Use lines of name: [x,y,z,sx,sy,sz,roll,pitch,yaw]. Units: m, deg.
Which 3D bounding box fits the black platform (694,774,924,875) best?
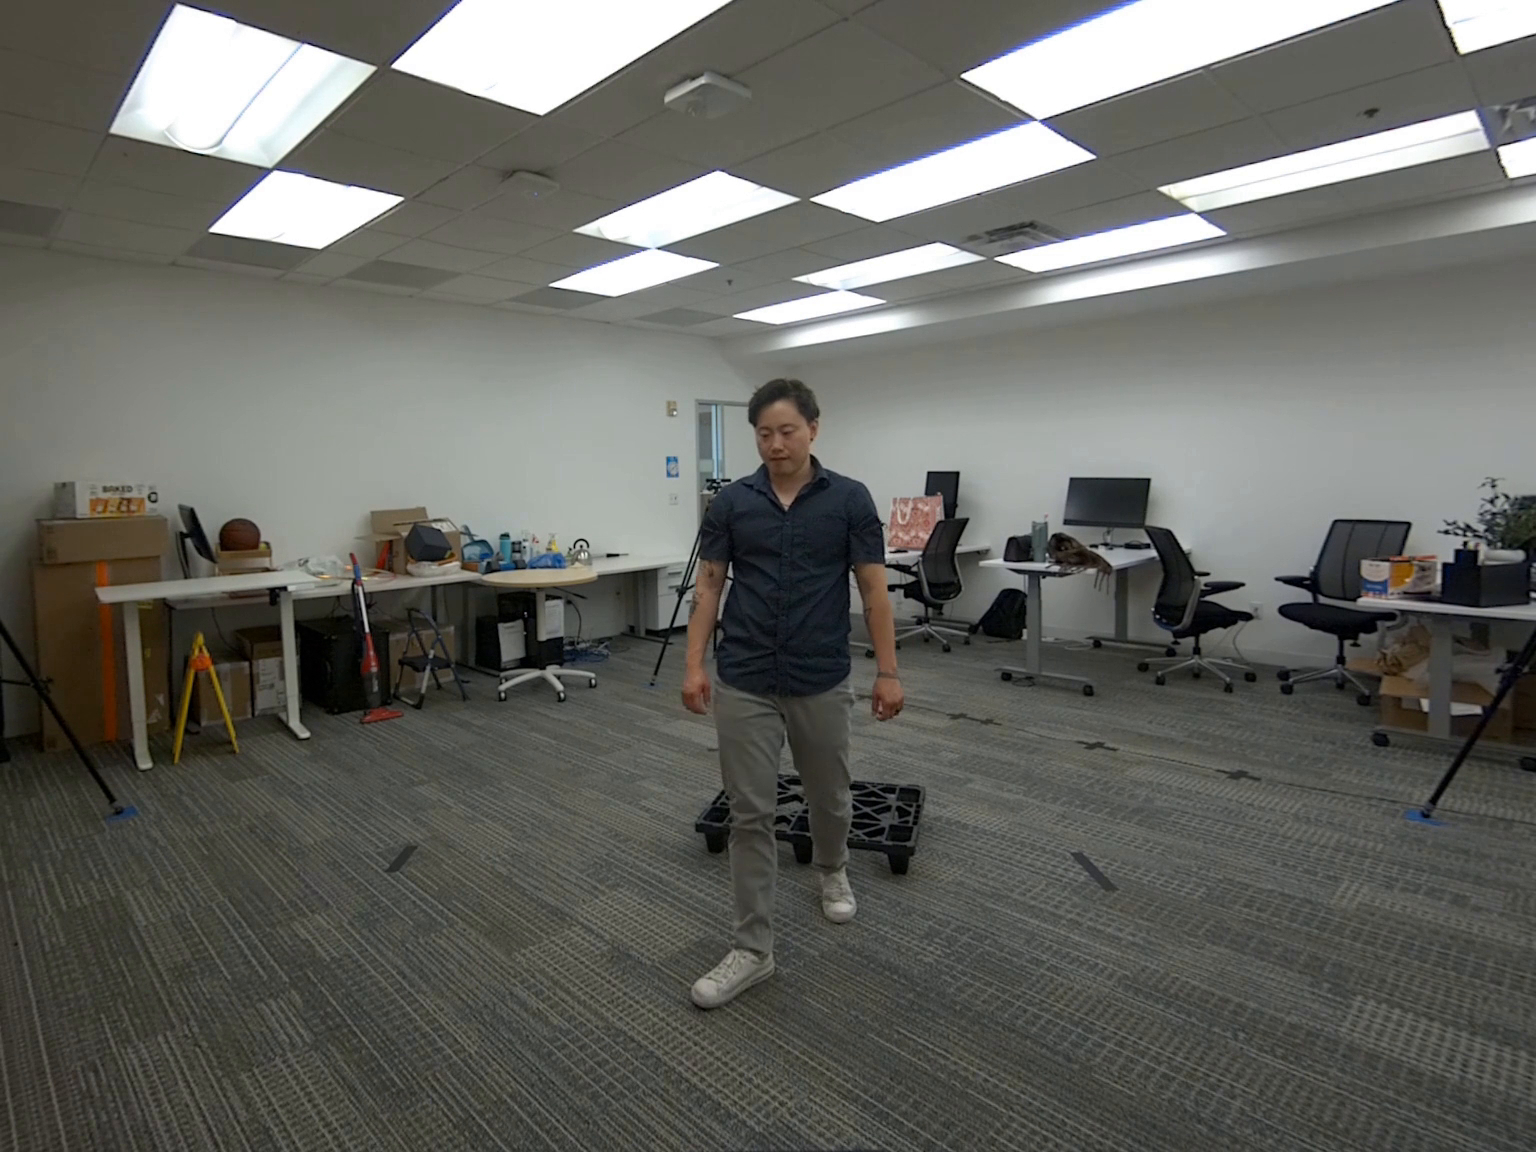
black platform: [0.183,0.948,3.322,0.818,0.143,0.598,1,6,16]
